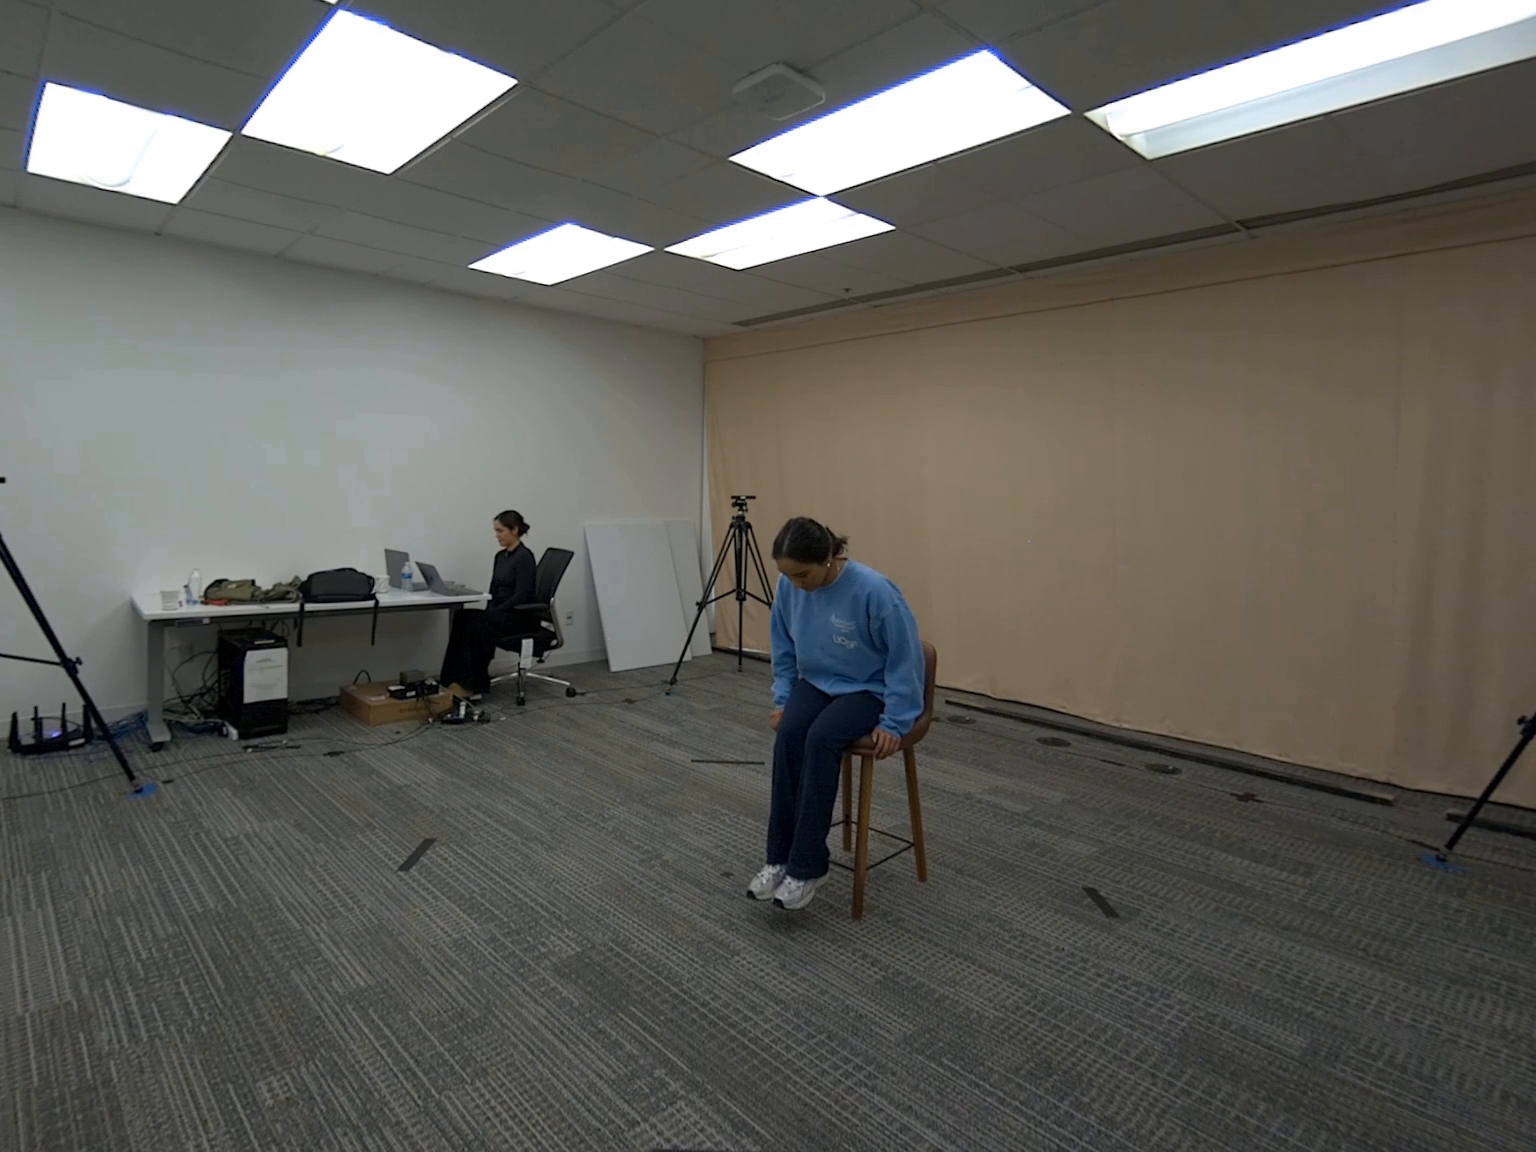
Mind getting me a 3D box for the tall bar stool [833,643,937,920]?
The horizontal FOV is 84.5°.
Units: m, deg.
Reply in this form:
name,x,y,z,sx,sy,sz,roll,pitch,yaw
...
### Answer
name,x,y,z,sx,sy,sz,roll,pitch,yaw
tall bar stool,0.319,0.682,3.058,0.468,0.888,0.456,5,3,44
